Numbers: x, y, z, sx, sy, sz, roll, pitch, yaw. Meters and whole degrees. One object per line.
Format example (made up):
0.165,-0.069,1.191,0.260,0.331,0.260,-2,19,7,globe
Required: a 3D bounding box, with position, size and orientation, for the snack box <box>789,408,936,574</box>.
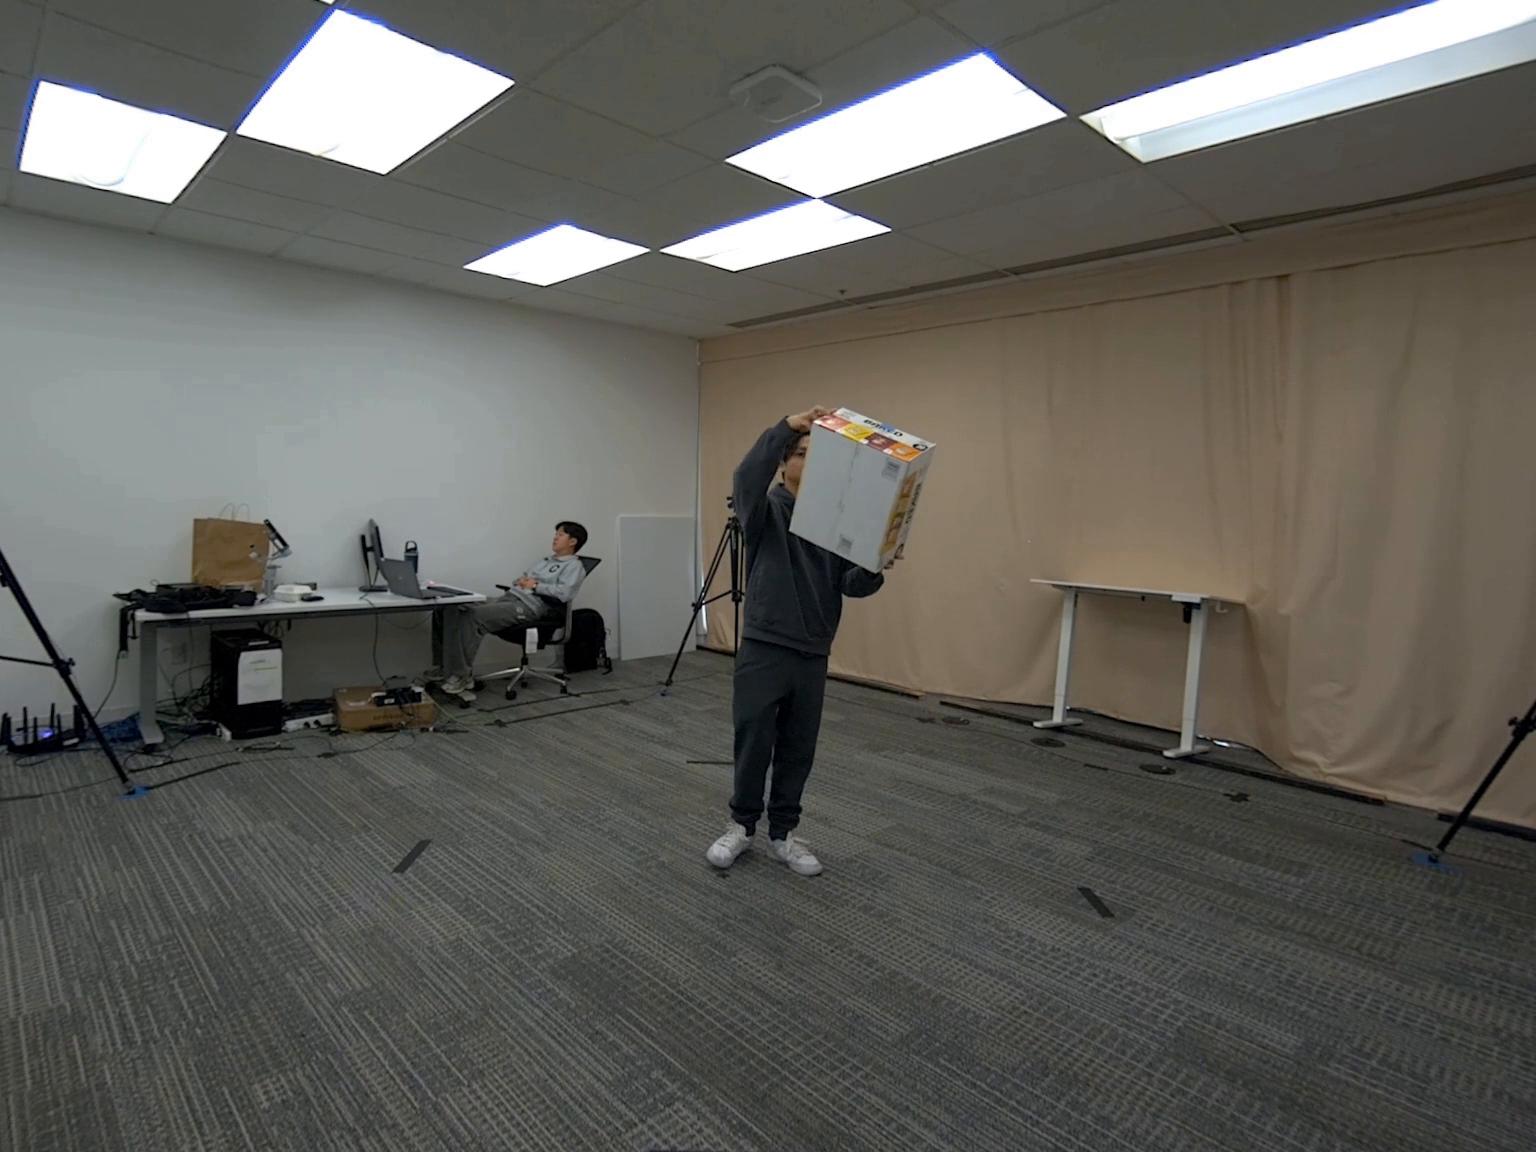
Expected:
0.286,-0.281,2.717,0.349,0.399,0.204,28,35,25,snack box
